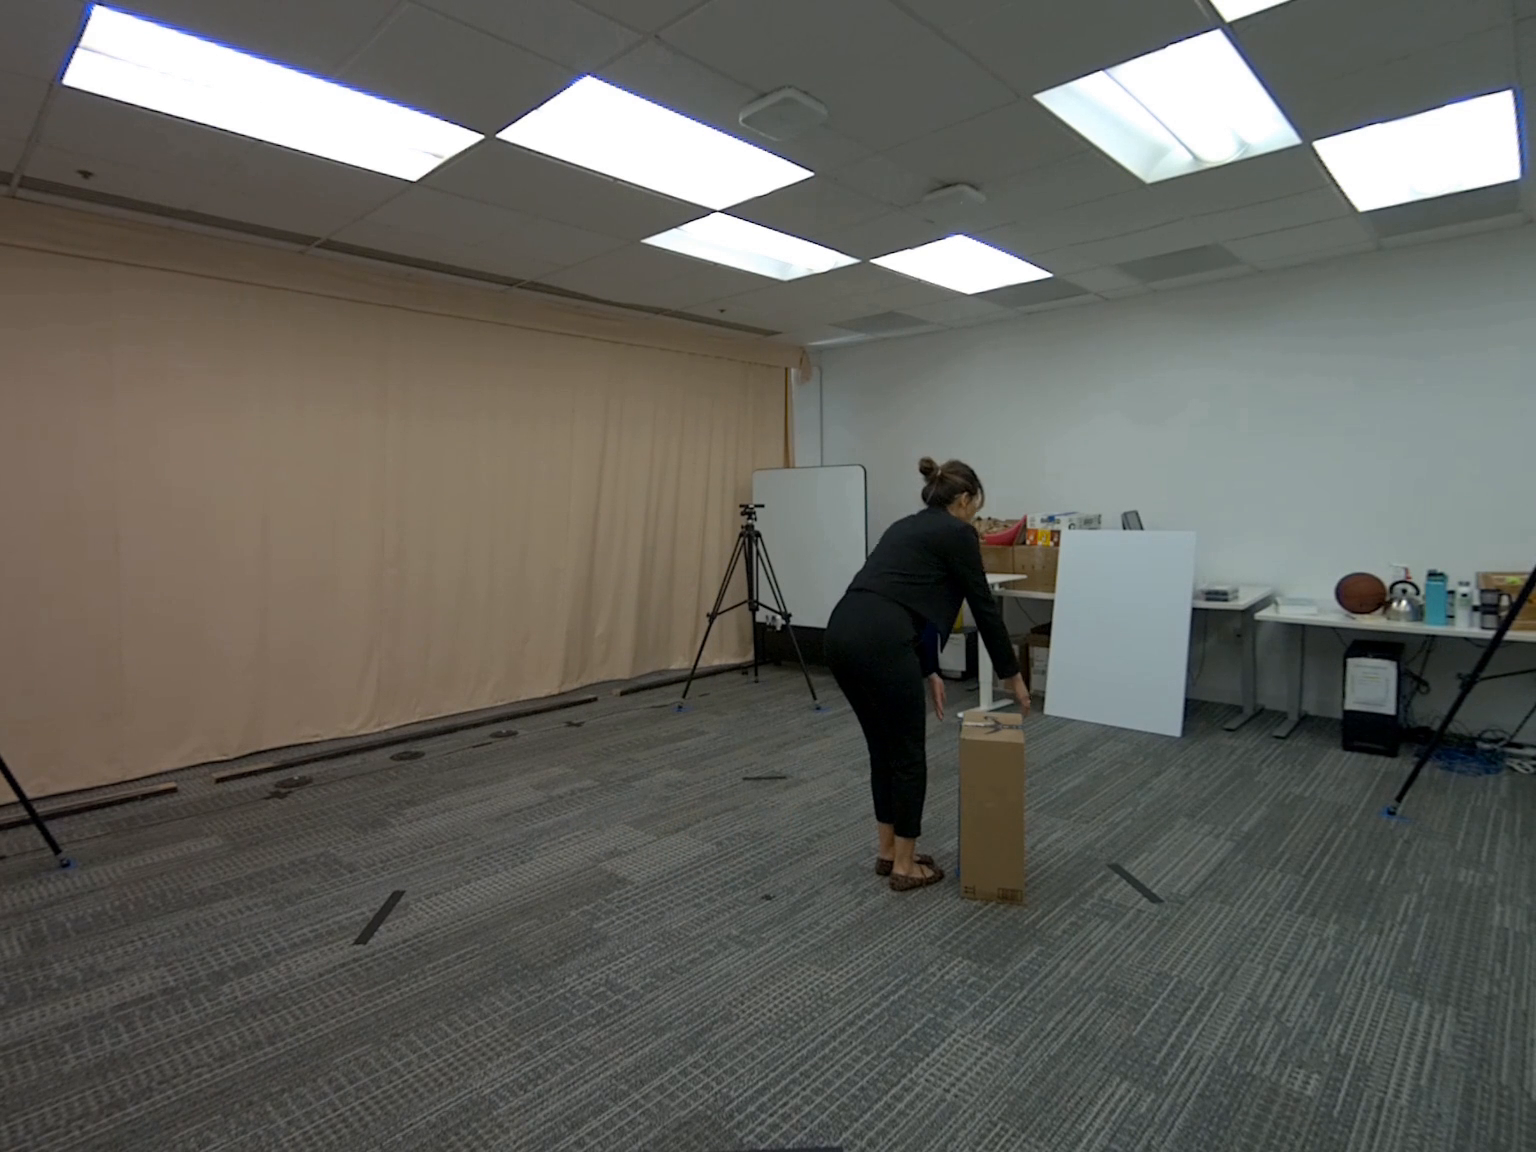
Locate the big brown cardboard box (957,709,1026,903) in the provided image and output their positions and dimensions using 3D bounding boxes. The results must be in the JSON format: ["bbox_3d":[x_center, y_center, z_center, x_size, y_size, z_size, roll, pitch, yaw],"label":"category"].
[{"bbox_3d":[0.832,0.839,3.107,0.237,0.588,0.411,1,2,15],"label":"big brown cardboard box"}]
